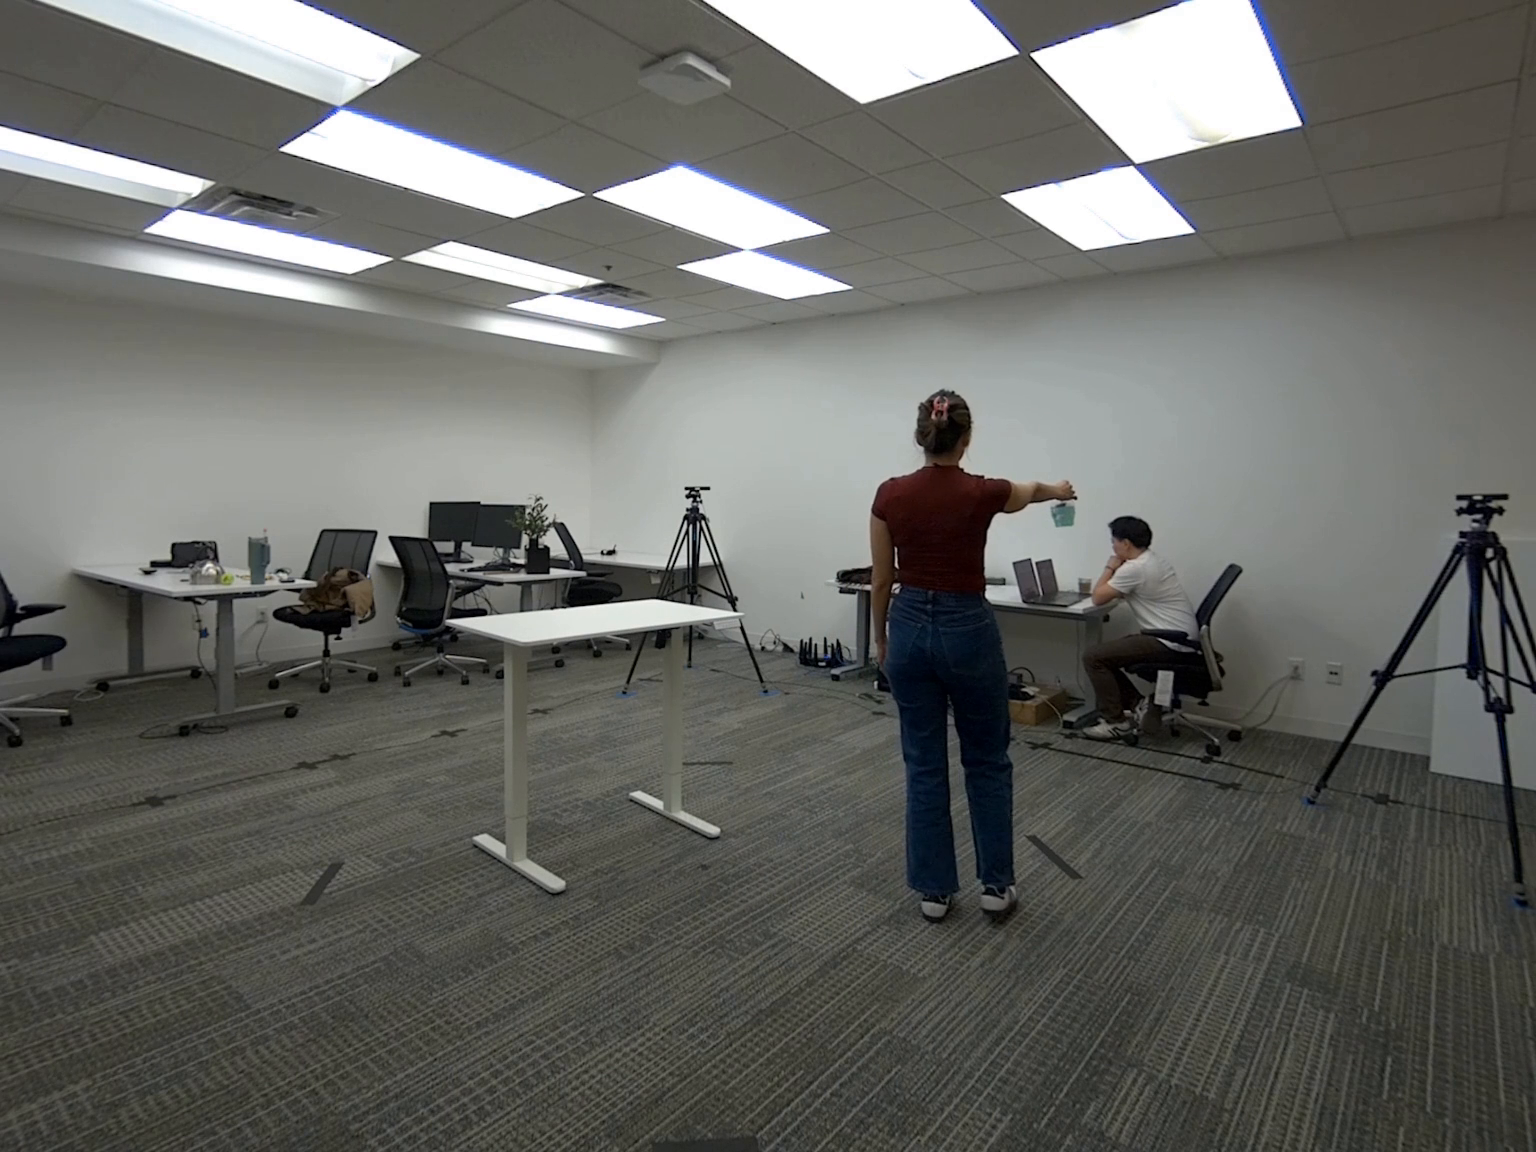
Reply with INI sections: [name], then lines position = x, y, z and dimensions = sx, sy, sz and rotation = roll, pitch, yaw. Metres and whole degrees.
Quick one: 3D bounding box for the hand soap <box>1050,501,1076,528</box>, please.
[hand soap]
position = 1.100, -0.271, 3.200
dimensions = 0.086, 0.169, 0.042
rotation = -7, -5, 25
